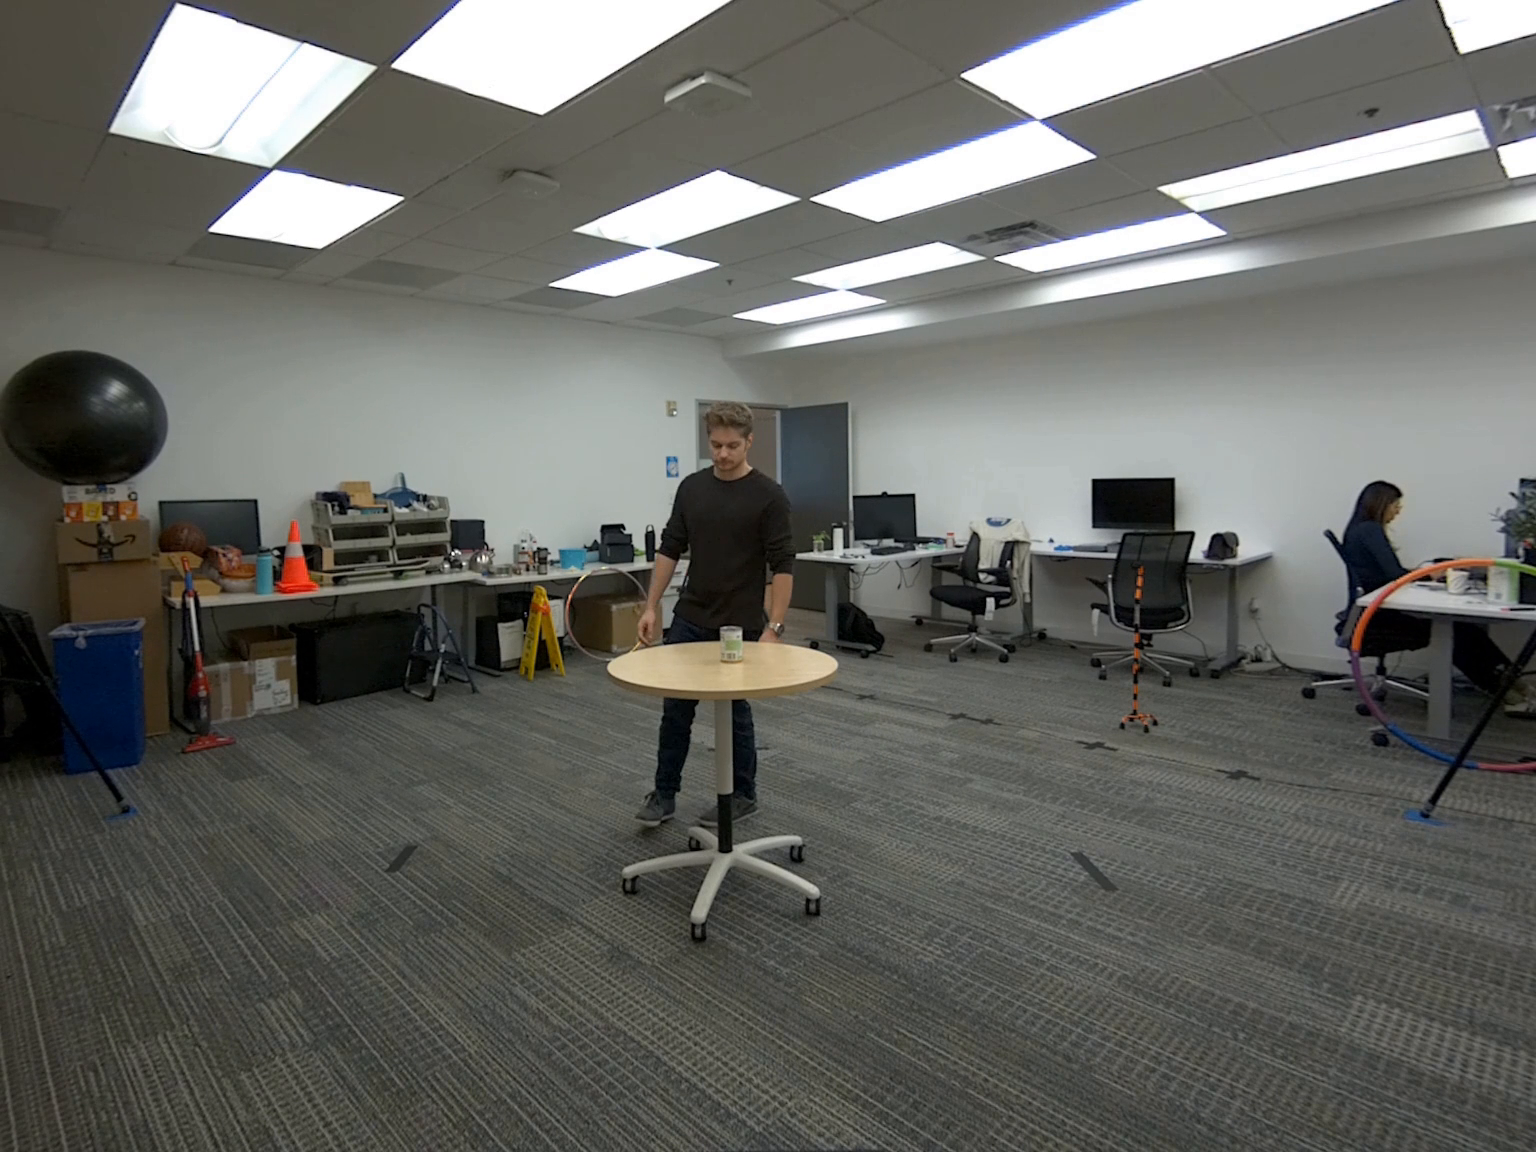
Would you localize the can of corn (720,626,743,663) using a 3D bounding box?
[{"bbox_3d":[-0.126,0.234,2.874,0.074,0.111,0.074,-2,2,-2],"label":"can of corn"}]
